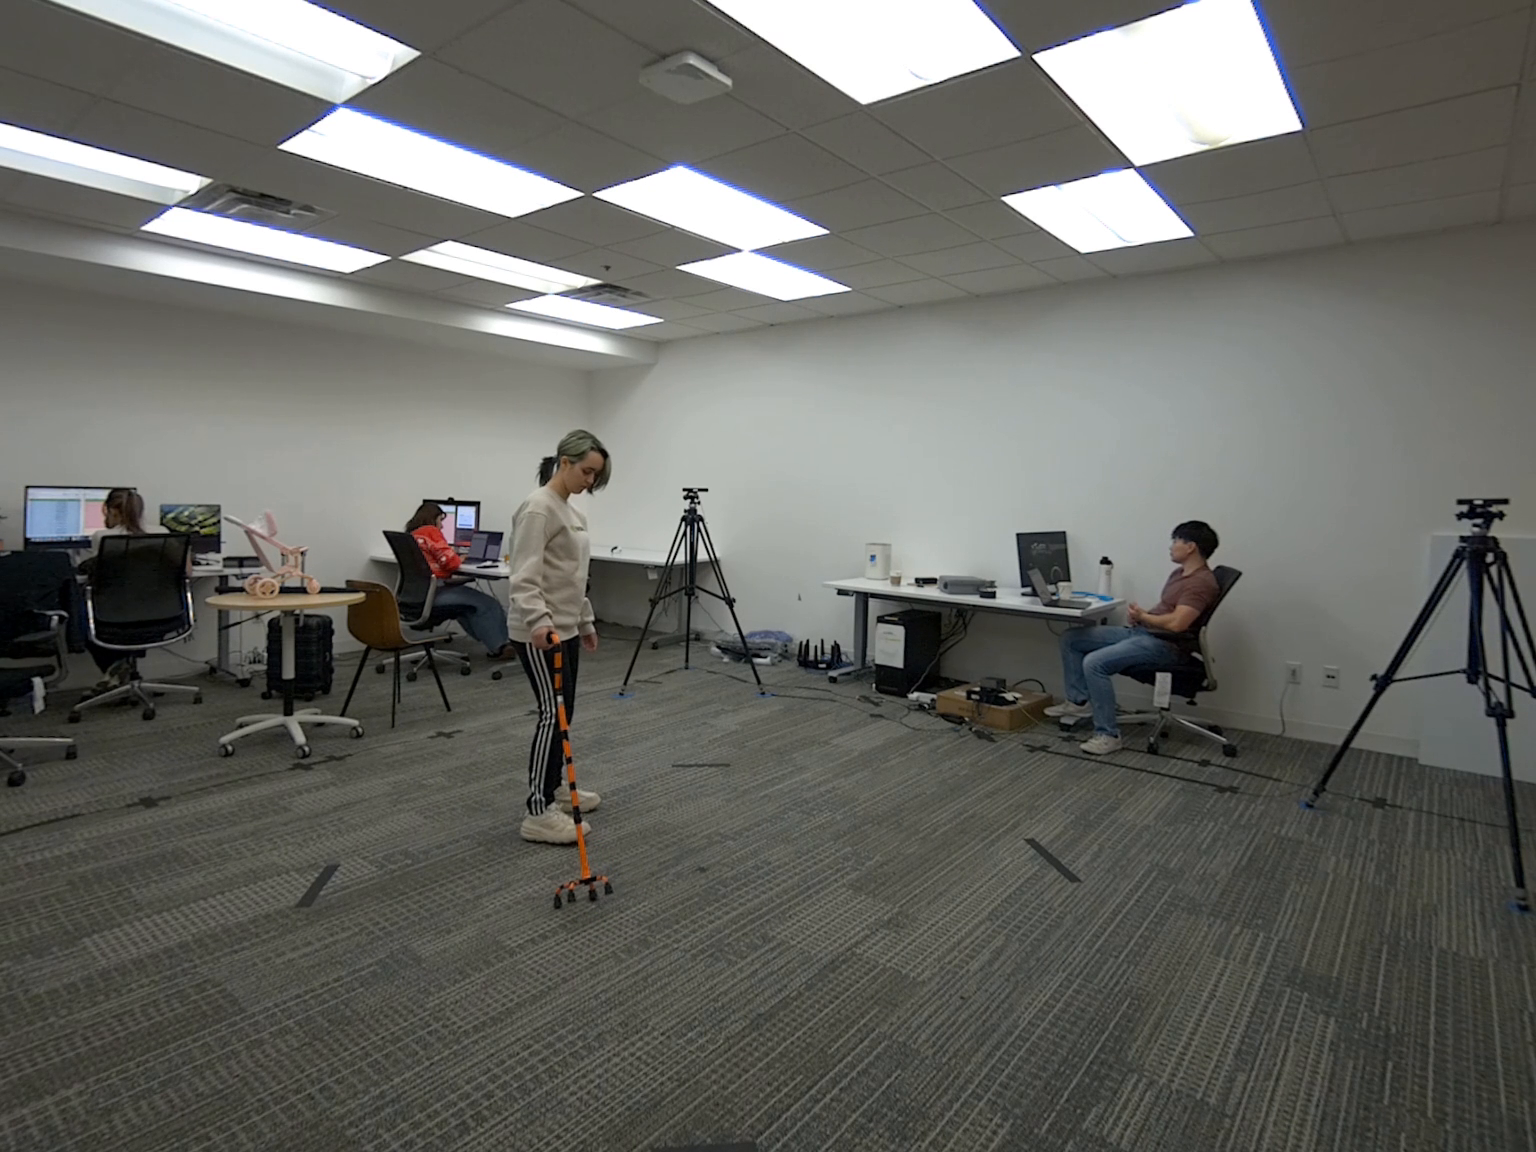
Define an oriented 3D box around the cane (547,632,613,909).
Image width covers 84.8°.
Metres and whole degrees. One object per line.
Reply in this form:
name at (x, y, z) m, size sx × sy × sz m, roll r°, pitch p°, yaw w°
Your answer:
cane at (-0.705, 0.635, 2.918) m, size 0.148 × 0.929 × 0.207 m, roll -2°, pitch -23°, yaw -28°
